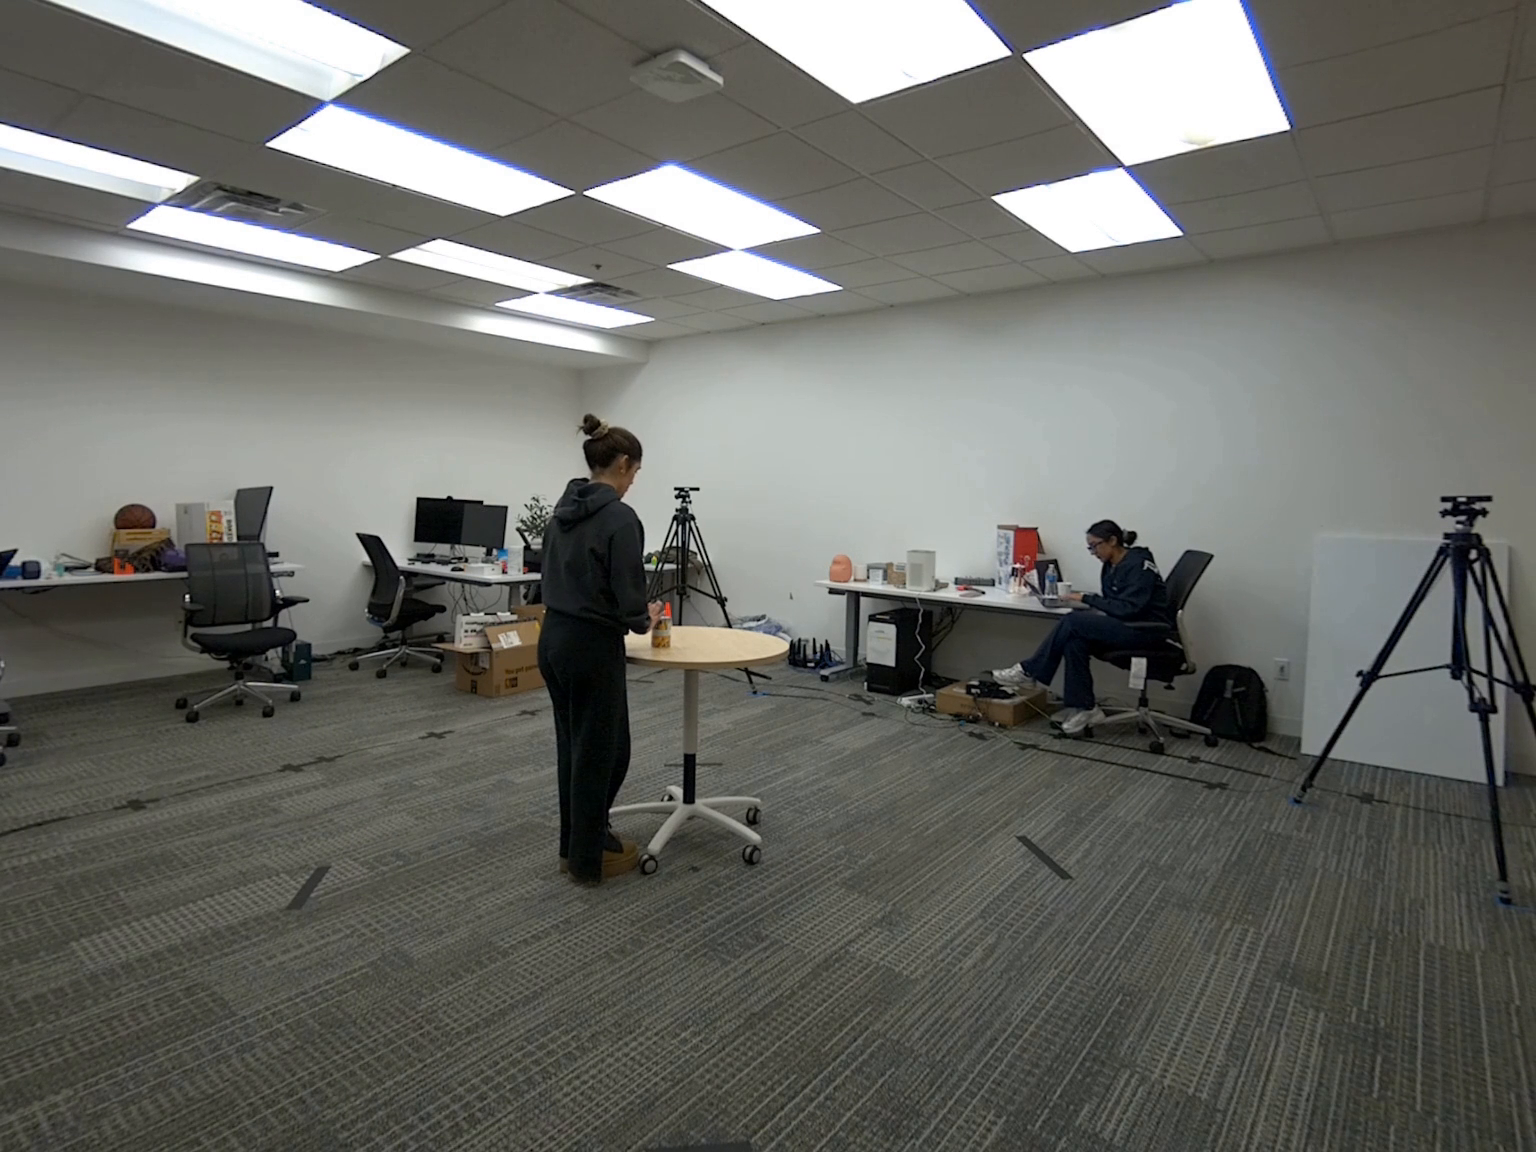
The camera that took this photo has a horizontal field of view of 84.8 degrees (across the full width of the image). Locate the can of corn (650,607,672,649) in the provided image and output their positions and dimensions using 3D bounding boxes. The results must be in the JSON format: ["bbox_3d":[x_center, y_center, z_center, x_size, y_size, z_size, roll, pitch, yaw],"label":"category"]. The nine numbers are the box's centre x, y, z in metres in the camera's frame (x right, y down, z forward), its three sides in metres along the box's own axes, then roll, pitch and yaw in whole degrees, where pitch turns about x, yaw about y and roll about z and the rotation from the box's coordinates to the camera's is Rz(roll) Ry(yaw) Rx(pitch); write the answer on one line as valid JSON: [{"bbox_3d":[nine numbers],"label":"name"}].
[{"bbox_3d":[-0.408,0.214,3.235,0.074,0.110,0.074,0,4,-2],"label":"can of corn"}]
